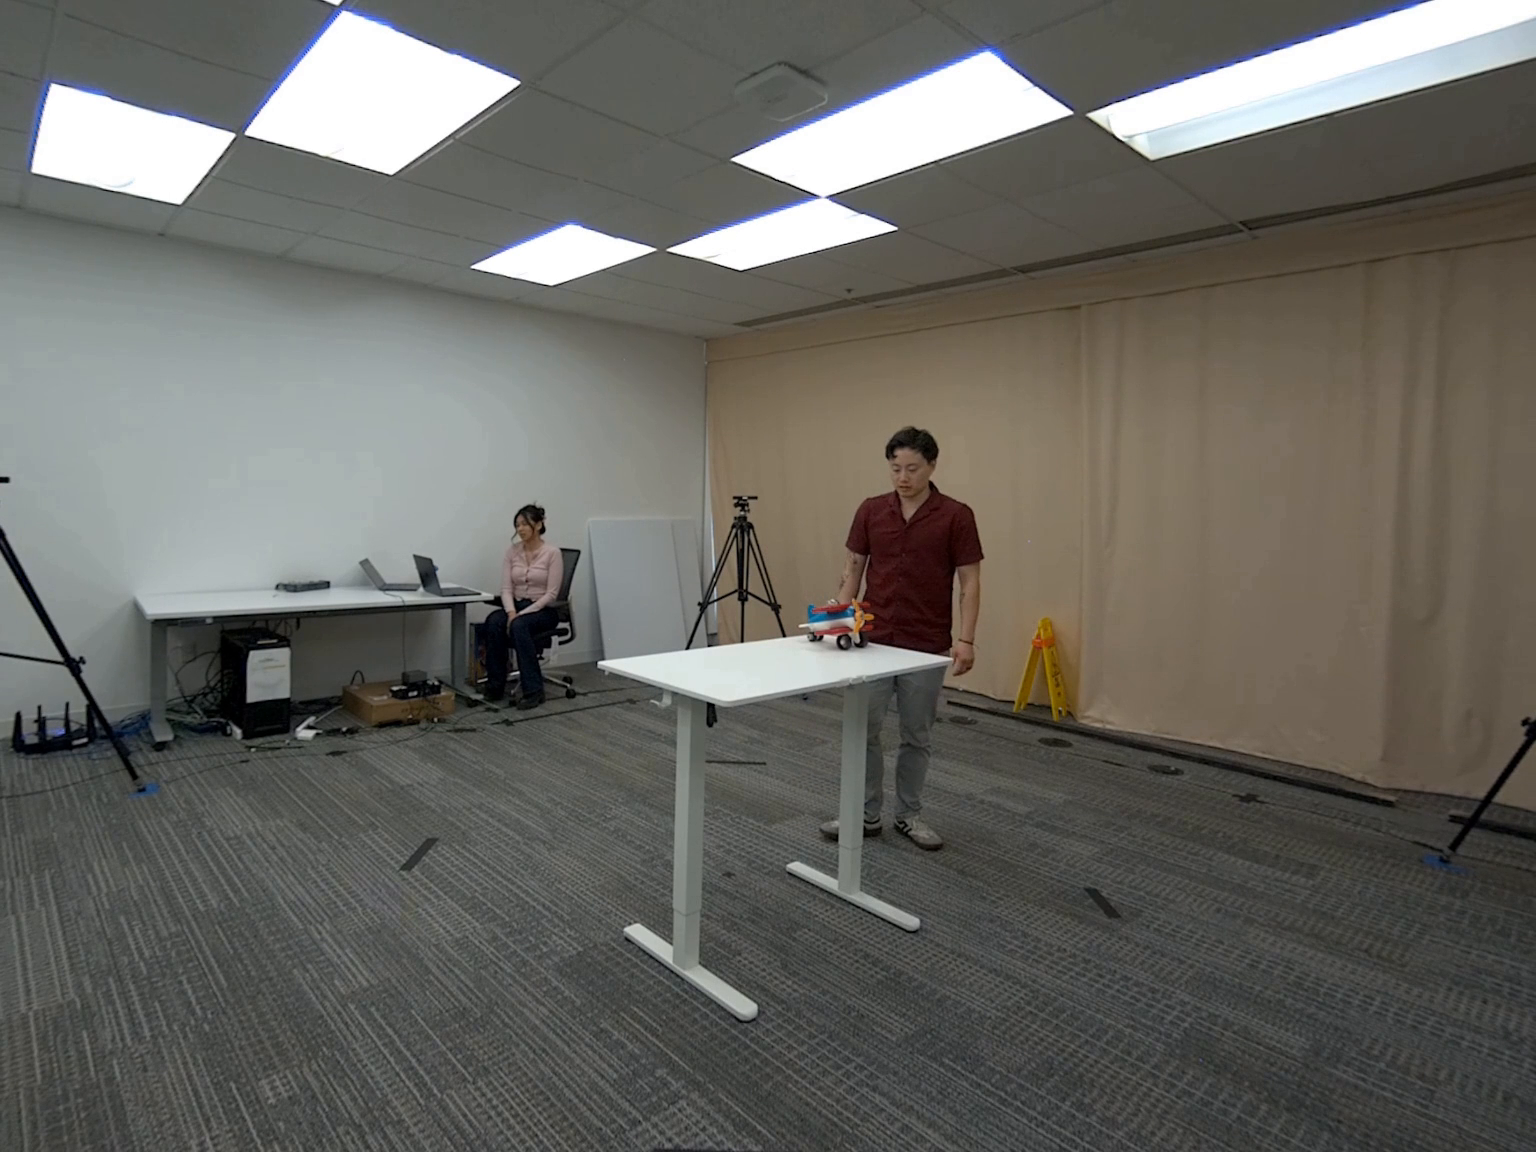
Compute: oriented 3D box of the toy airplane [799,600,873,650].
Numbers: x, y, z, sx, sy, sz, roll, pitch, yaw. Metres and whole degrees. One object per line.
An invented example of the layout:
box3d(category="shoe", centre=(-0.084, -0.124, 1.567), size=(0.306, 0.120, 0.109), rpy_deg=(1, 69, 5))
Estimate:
box3d(category="toy airplane", centre=(0.211, 0.165, 2.944), size=(0.264, 0.156, 0.247), rpy_deg=(6, 5, 20))
